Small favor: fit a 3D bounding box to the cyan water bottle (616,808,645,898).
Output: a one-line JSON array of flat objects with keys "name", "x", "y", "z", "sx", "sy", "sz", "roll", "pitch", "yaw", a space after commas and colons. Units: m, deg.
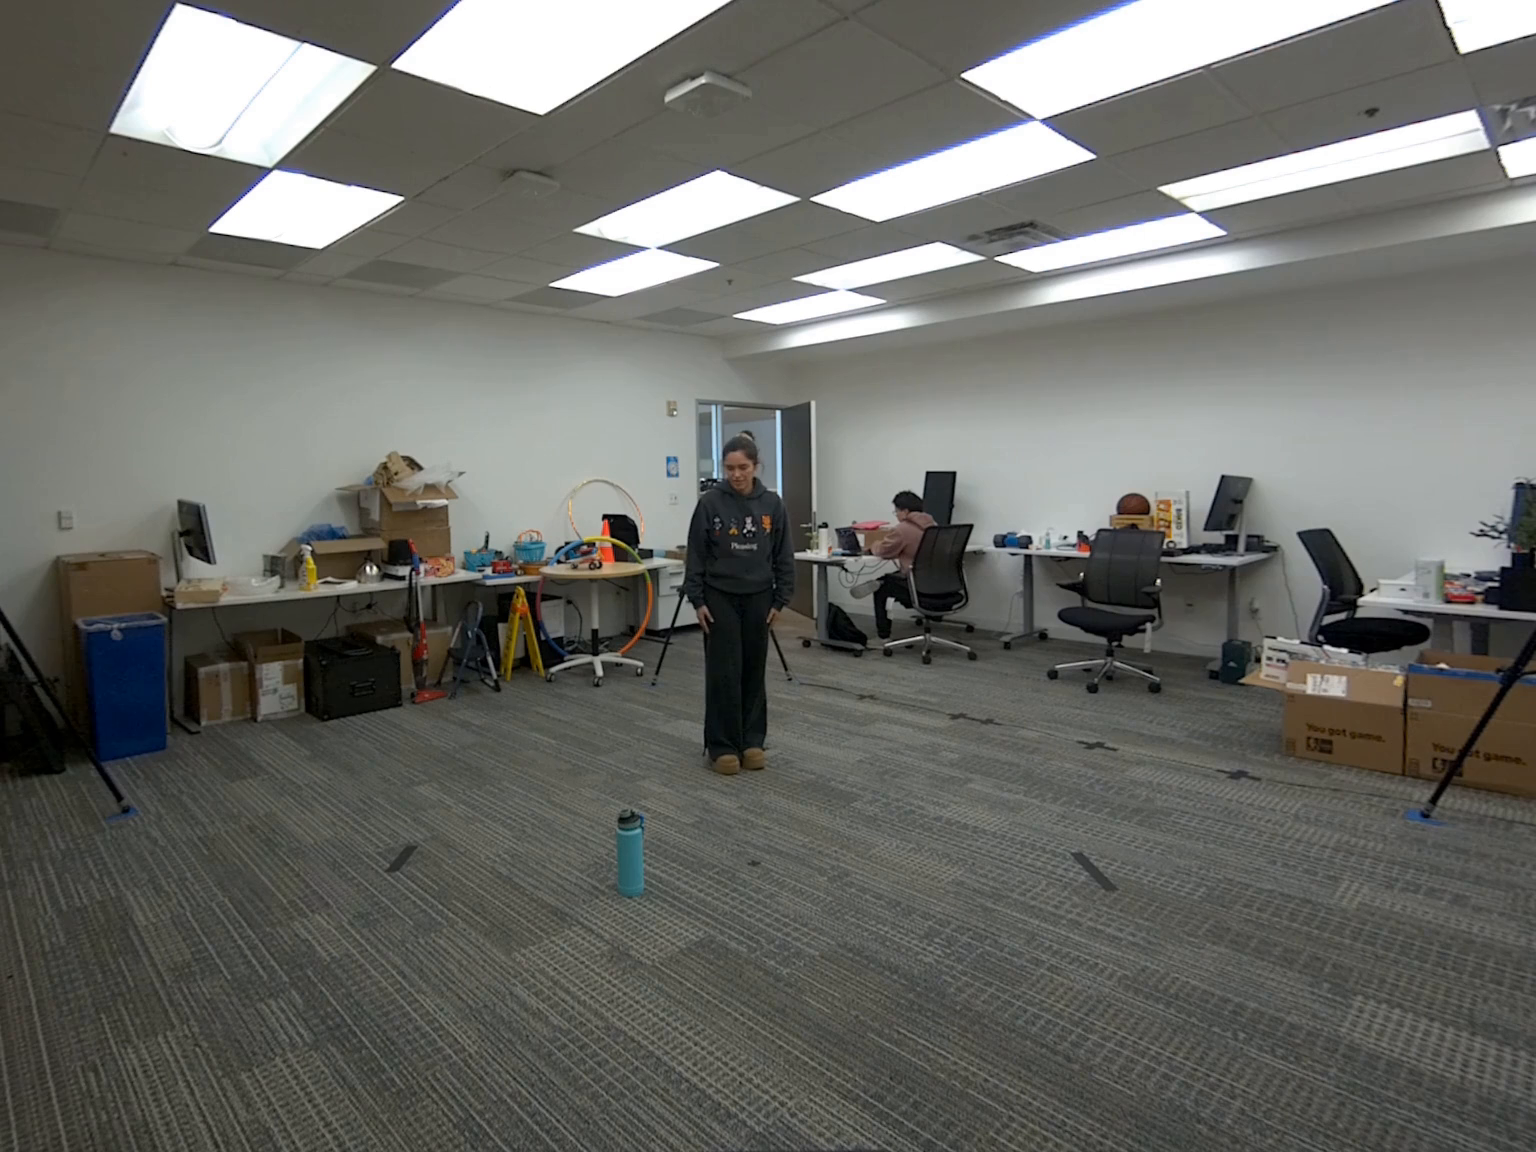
[{"name": "cyan water bottle", "x": -0.467, "y": 0.936, "z": 2.890, "sx": 0.092, "sy": 0.282, "sz": 0.093, "roll": 0, "pitch": 4, "yaw": -2}]
